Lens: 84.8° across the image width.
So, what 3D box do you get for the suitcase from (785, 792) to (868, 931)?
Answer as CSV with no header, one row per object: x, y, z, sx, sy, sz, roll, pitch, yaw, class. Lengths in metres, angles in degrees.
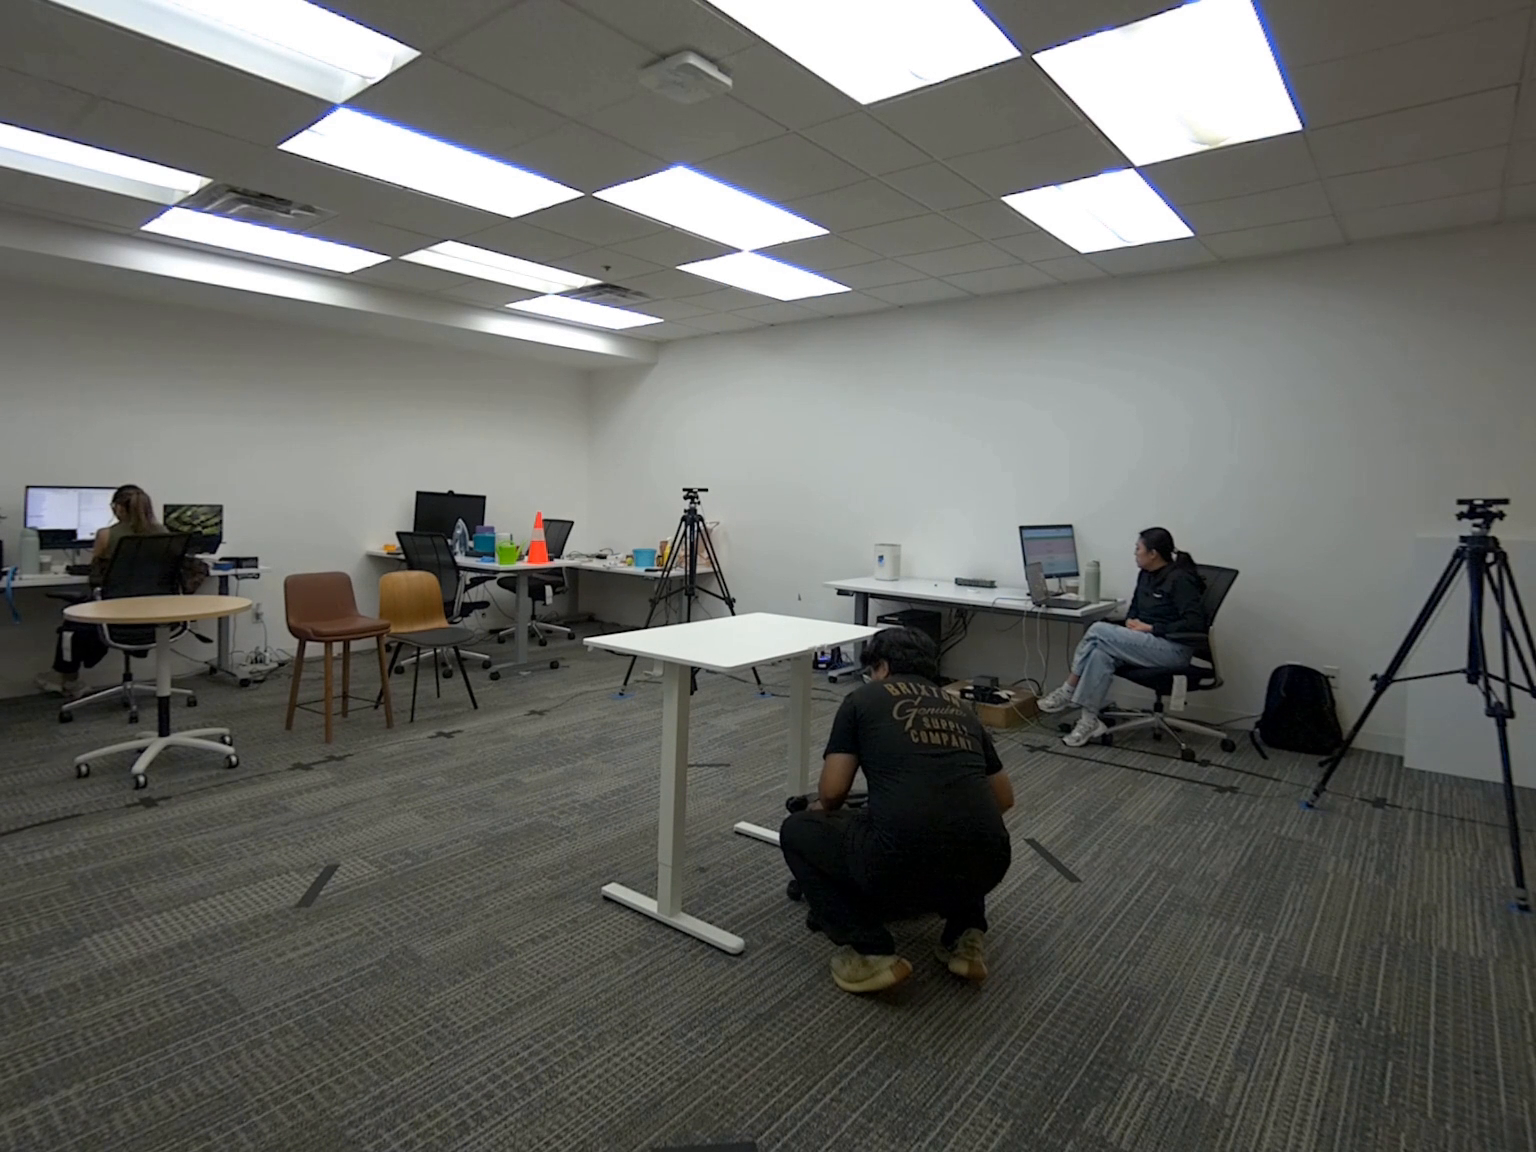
0.349,0.902,2.867,0.541,0.374,0.253,-2,3,-15,suitcase
